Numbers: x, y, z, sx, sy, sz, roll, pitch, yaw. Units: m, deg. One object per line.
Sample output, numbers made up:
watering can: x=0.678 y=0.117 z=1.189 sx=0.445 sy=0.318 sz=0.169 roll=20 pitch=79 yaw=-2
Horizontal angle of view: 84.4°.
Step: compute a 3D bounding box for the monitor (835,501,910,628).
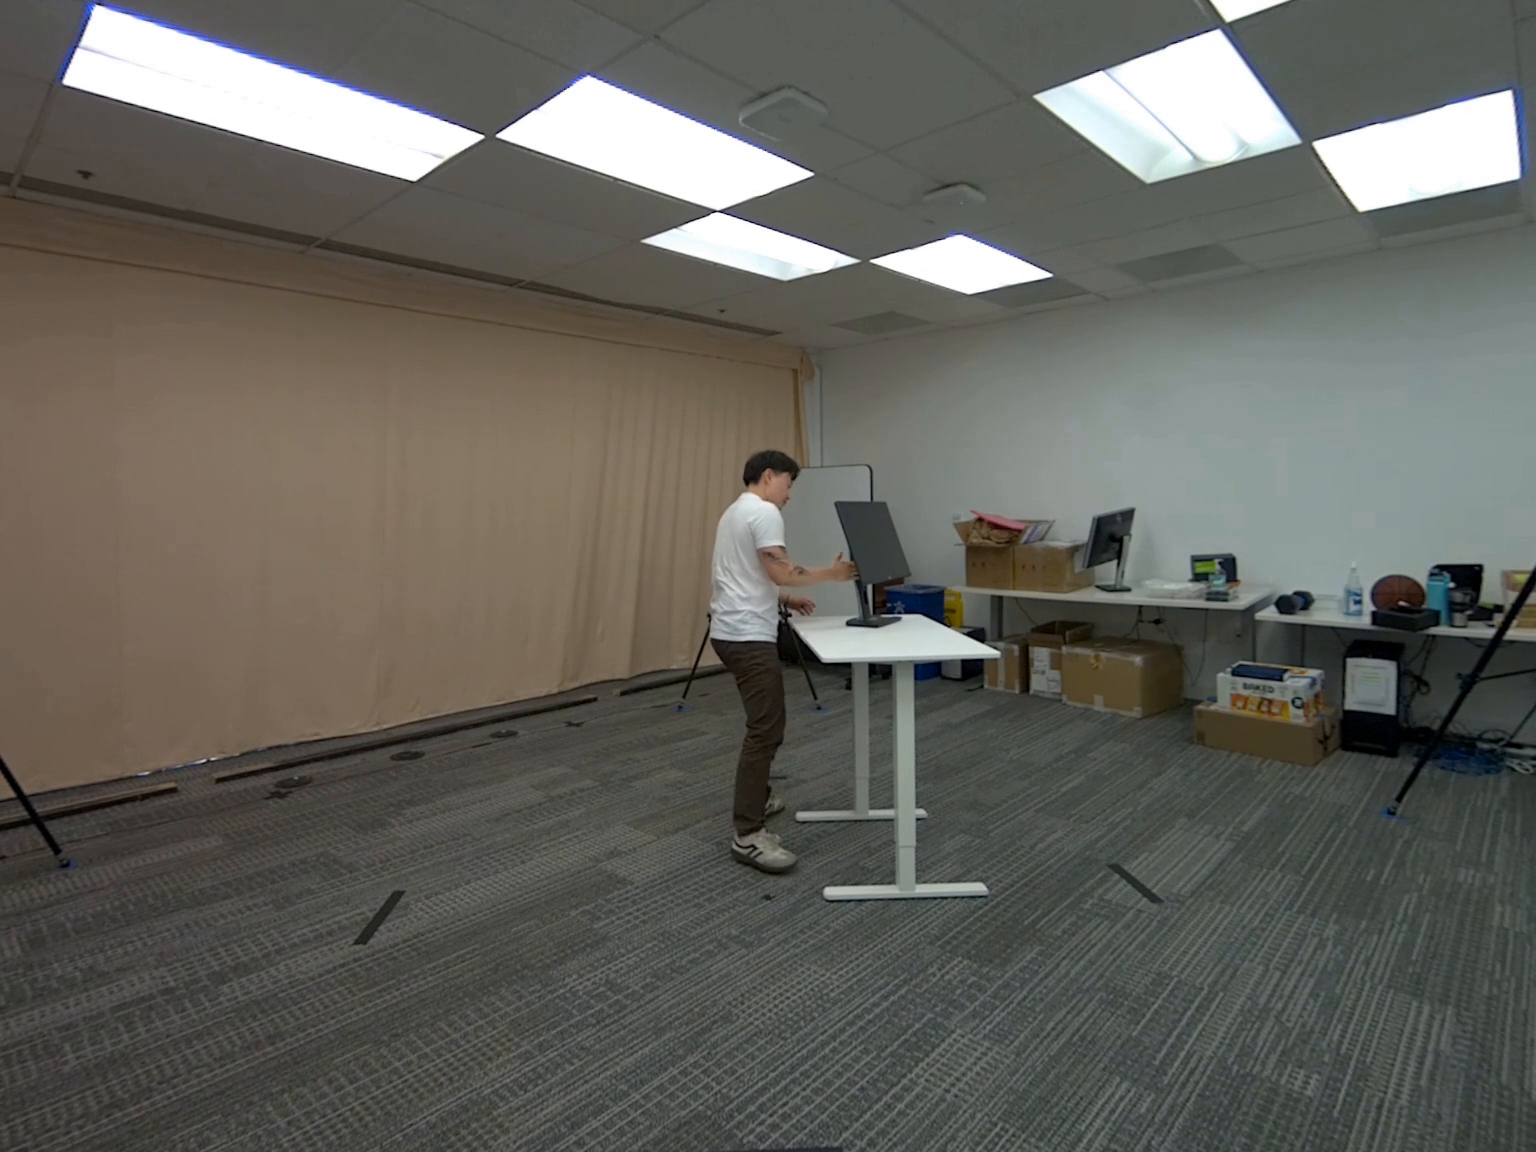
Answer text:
monitor: x=0.431 y=-0.054 z=3.574 sx=0.192 sy=0.522 sz=0.526 roll=-6 pitch=0 yaw=26
